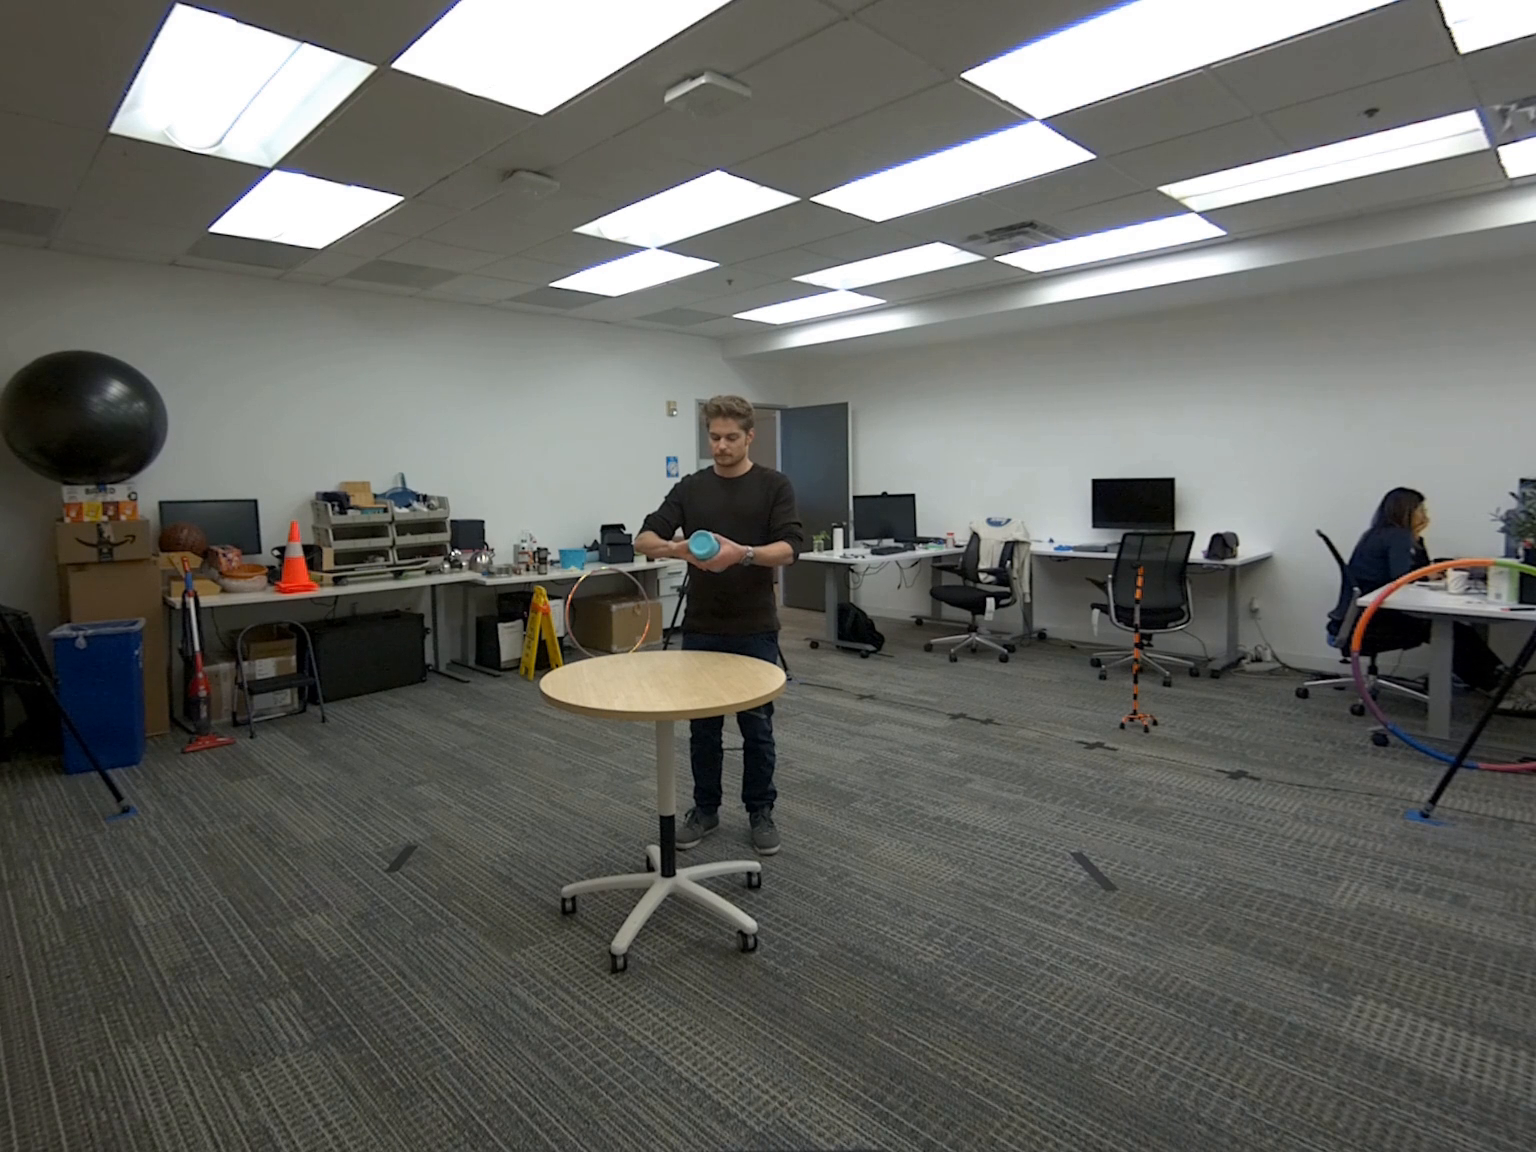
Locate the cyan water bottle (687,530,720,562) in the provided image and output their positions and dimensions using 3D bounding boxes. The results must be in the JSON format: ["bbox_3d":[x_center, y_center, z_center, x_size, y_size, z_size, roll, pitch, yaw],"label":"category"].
[{"bbox_3d":[-0.212,-0.079,3.006,0.093,0.093,0.277,0,-14,8],"label":"cyan water bottle"}]
